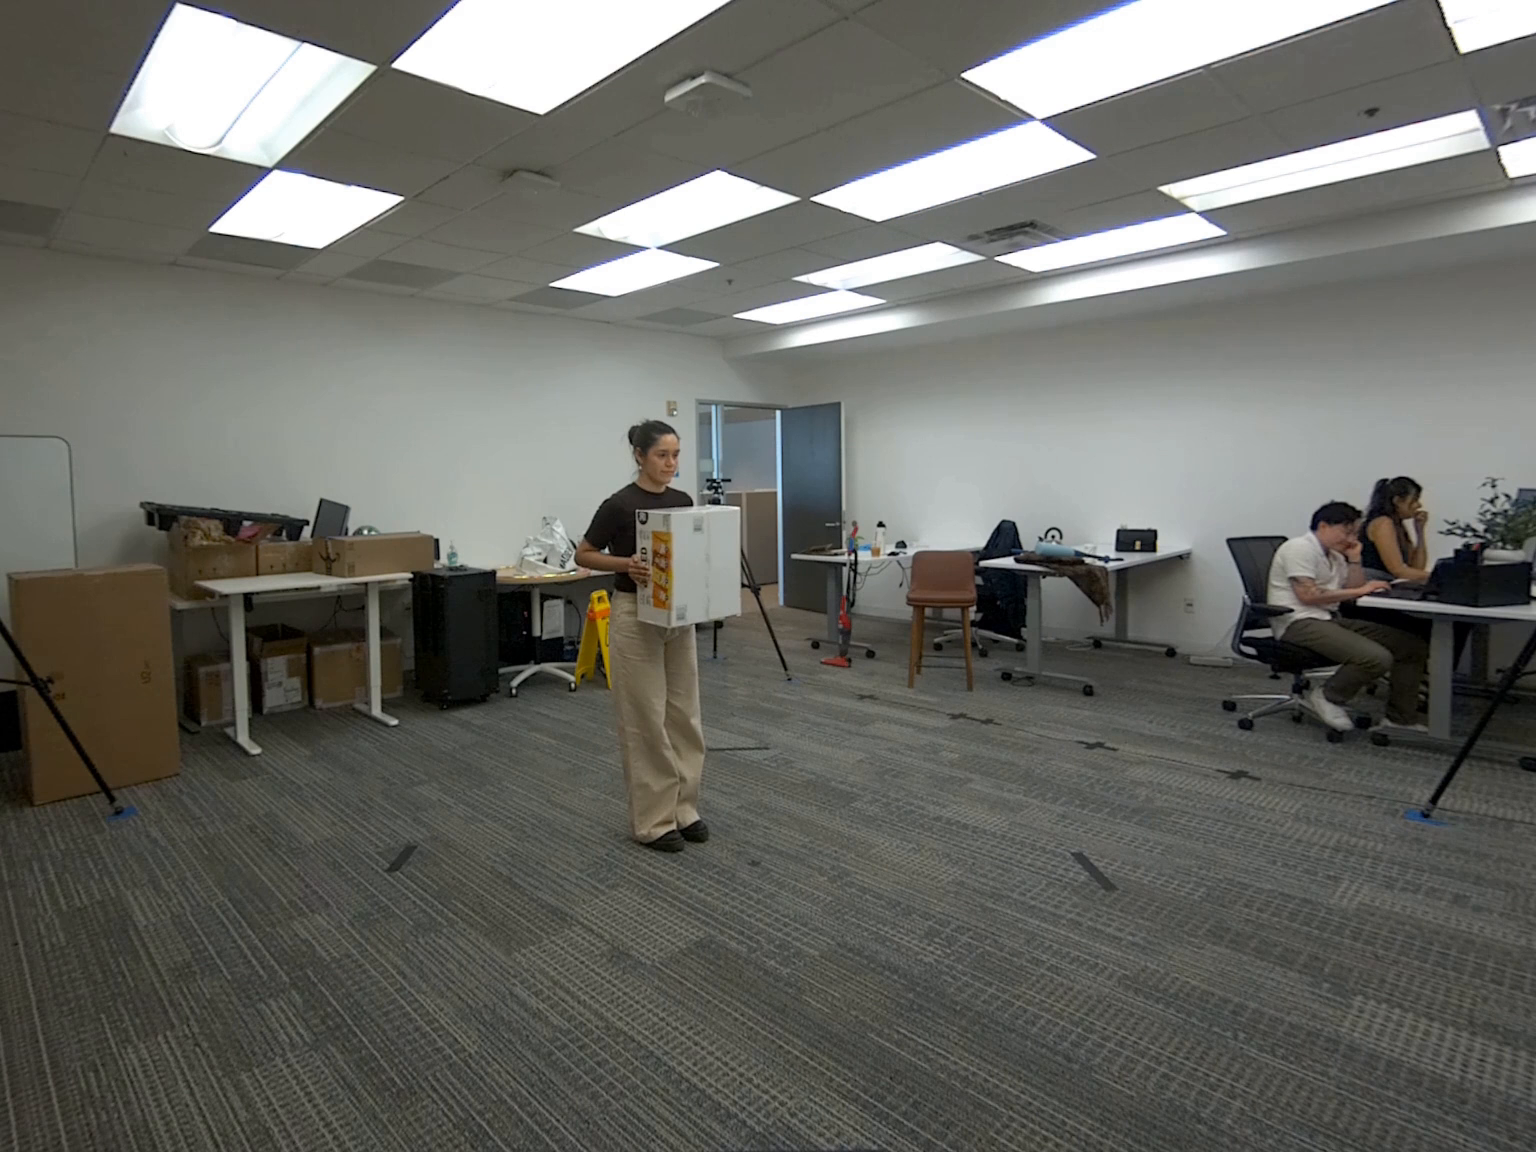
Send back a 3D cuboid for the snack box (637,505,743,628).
[{"bbox_3d":[-0.291,-0.045,3.154,0.332,0.402,0.212,-7,10,-43],"label":"snack box"}]
